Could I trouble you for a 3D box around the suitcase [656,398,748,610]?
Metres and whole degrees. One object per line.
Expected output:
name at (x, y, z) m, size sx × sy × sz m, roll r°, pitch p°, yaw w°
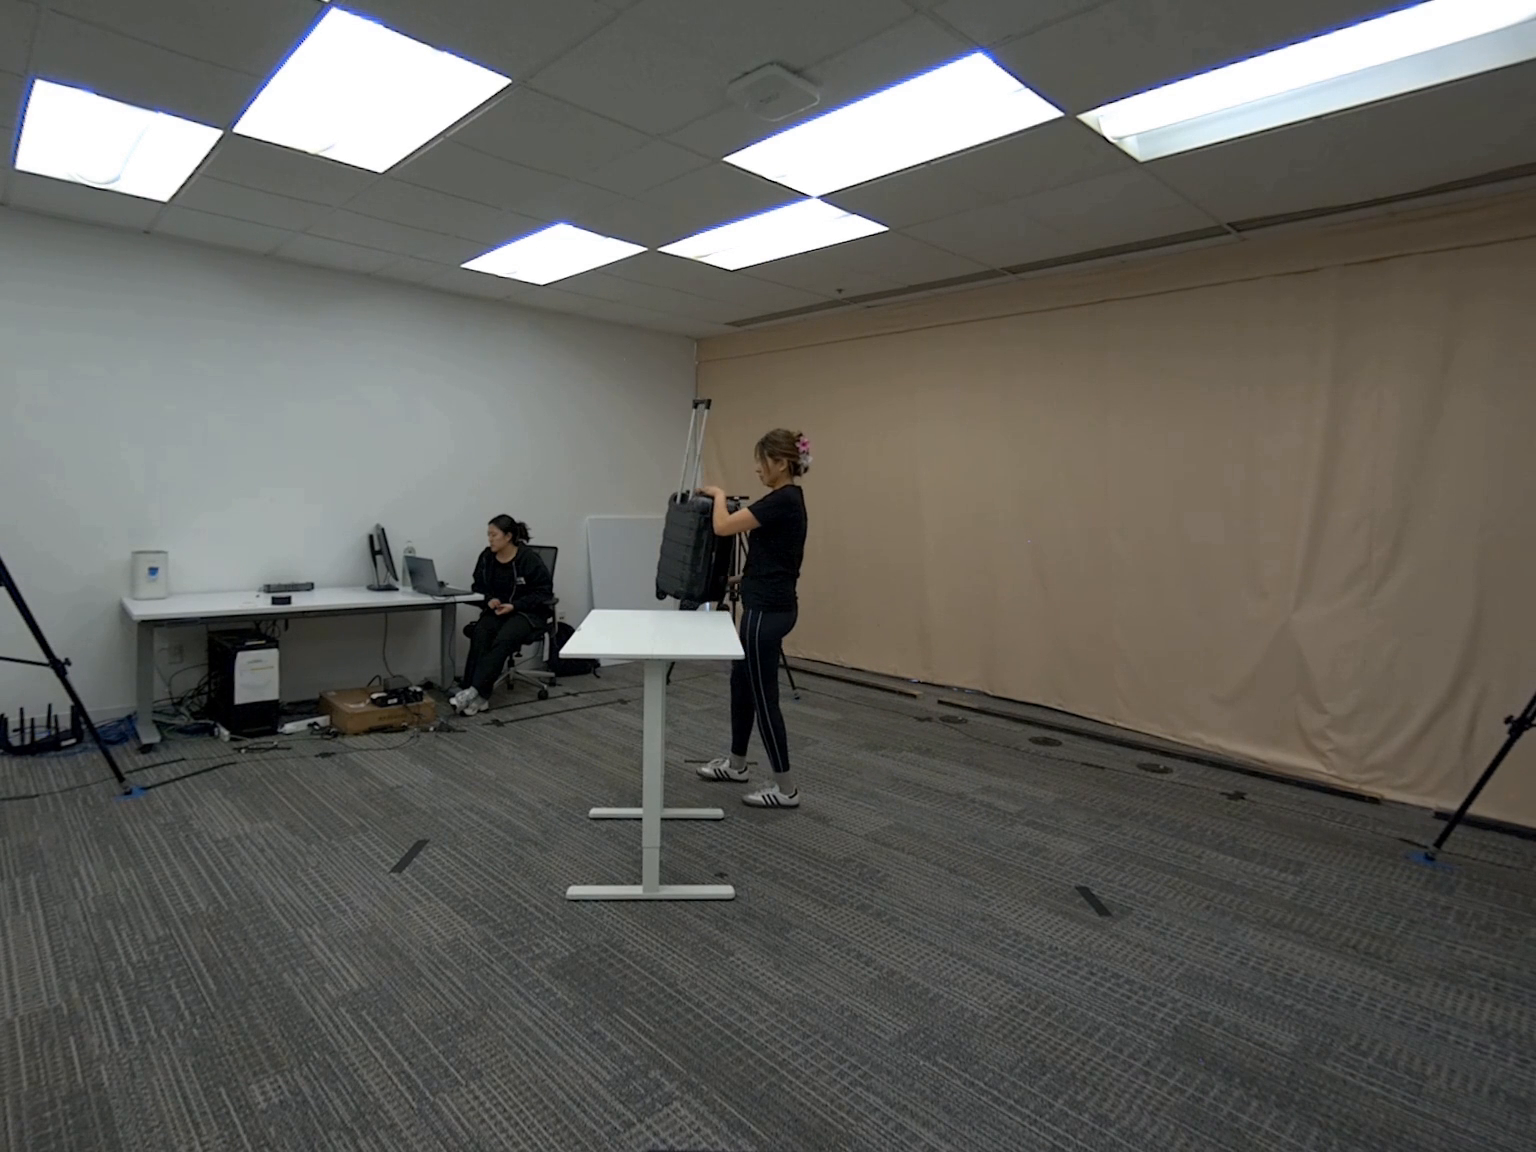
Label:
suitcase at (-0.309, -0.335, 3.994) m, size 0.251 × 0.976 × 0.393 m, roll 8°, pitch 4°, yaw -30°
